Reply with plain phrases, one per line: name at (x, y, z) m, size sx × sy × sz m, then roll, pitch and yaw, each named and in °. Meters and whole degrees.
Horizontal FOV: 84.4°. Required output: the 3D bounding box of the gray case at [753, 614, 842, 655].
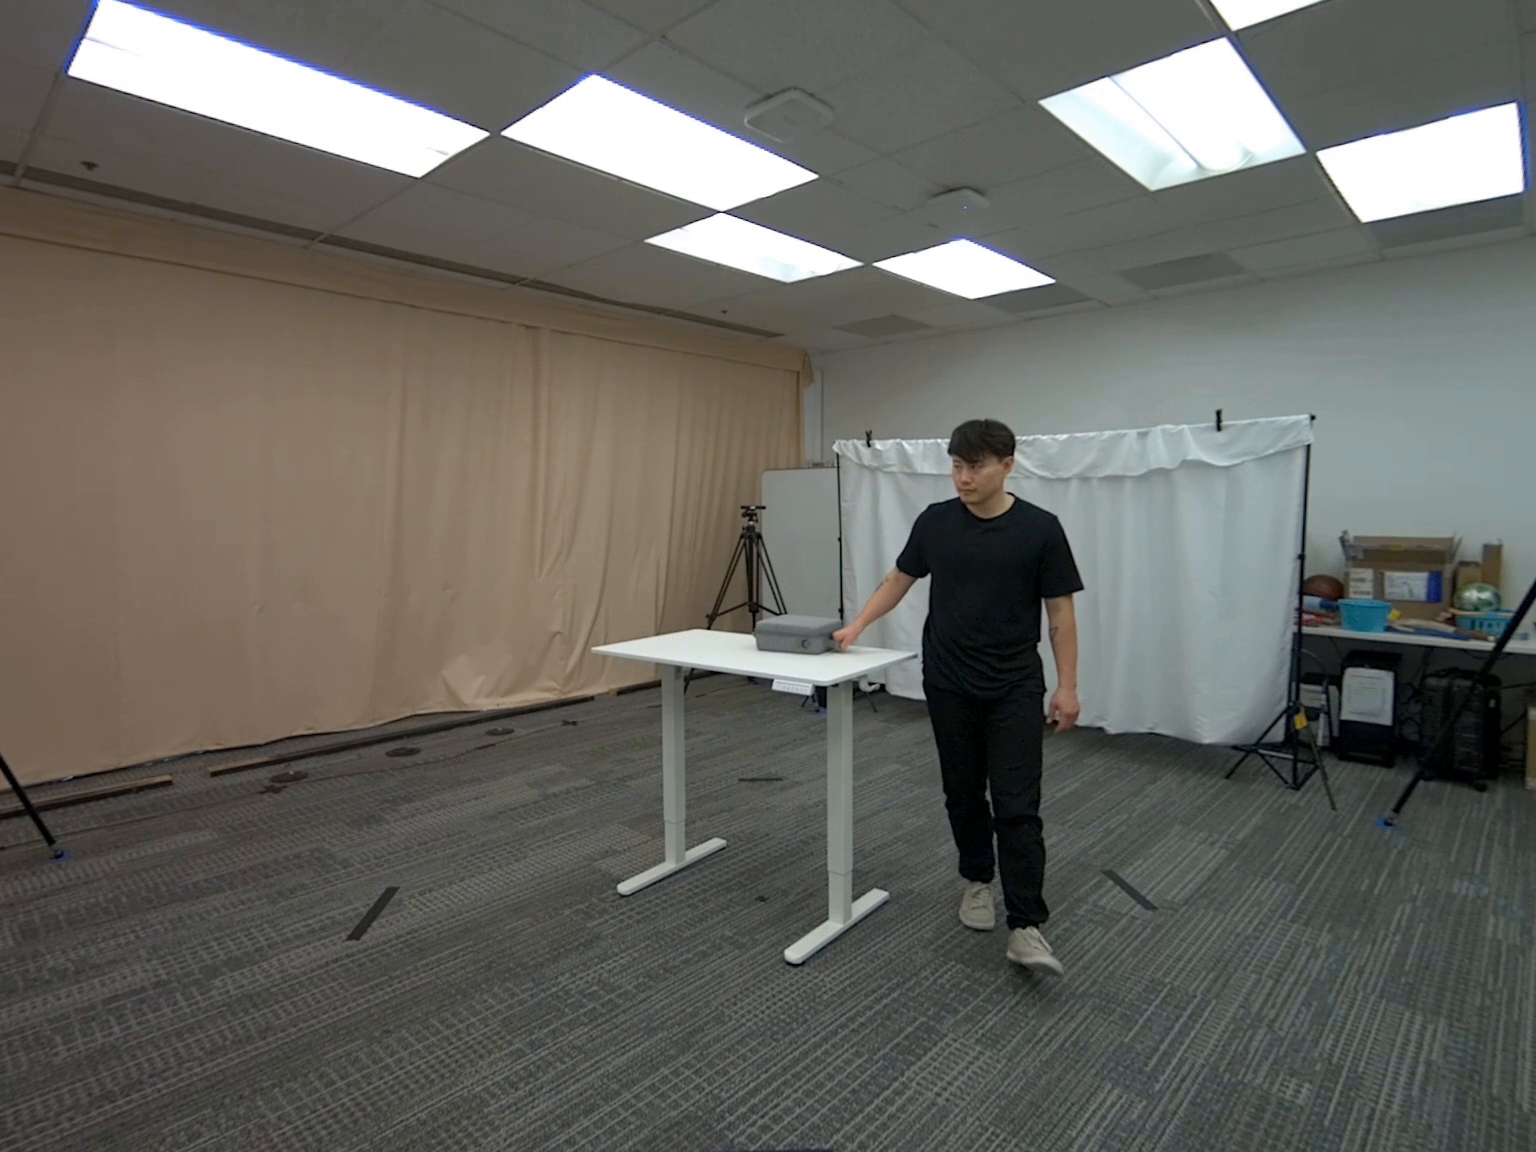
gray case at (0.117, 0.206, 3.010) m, size 0.268 × 0.104 × 0.250 m, roll 3°, pitch 5°, yaw 28°
